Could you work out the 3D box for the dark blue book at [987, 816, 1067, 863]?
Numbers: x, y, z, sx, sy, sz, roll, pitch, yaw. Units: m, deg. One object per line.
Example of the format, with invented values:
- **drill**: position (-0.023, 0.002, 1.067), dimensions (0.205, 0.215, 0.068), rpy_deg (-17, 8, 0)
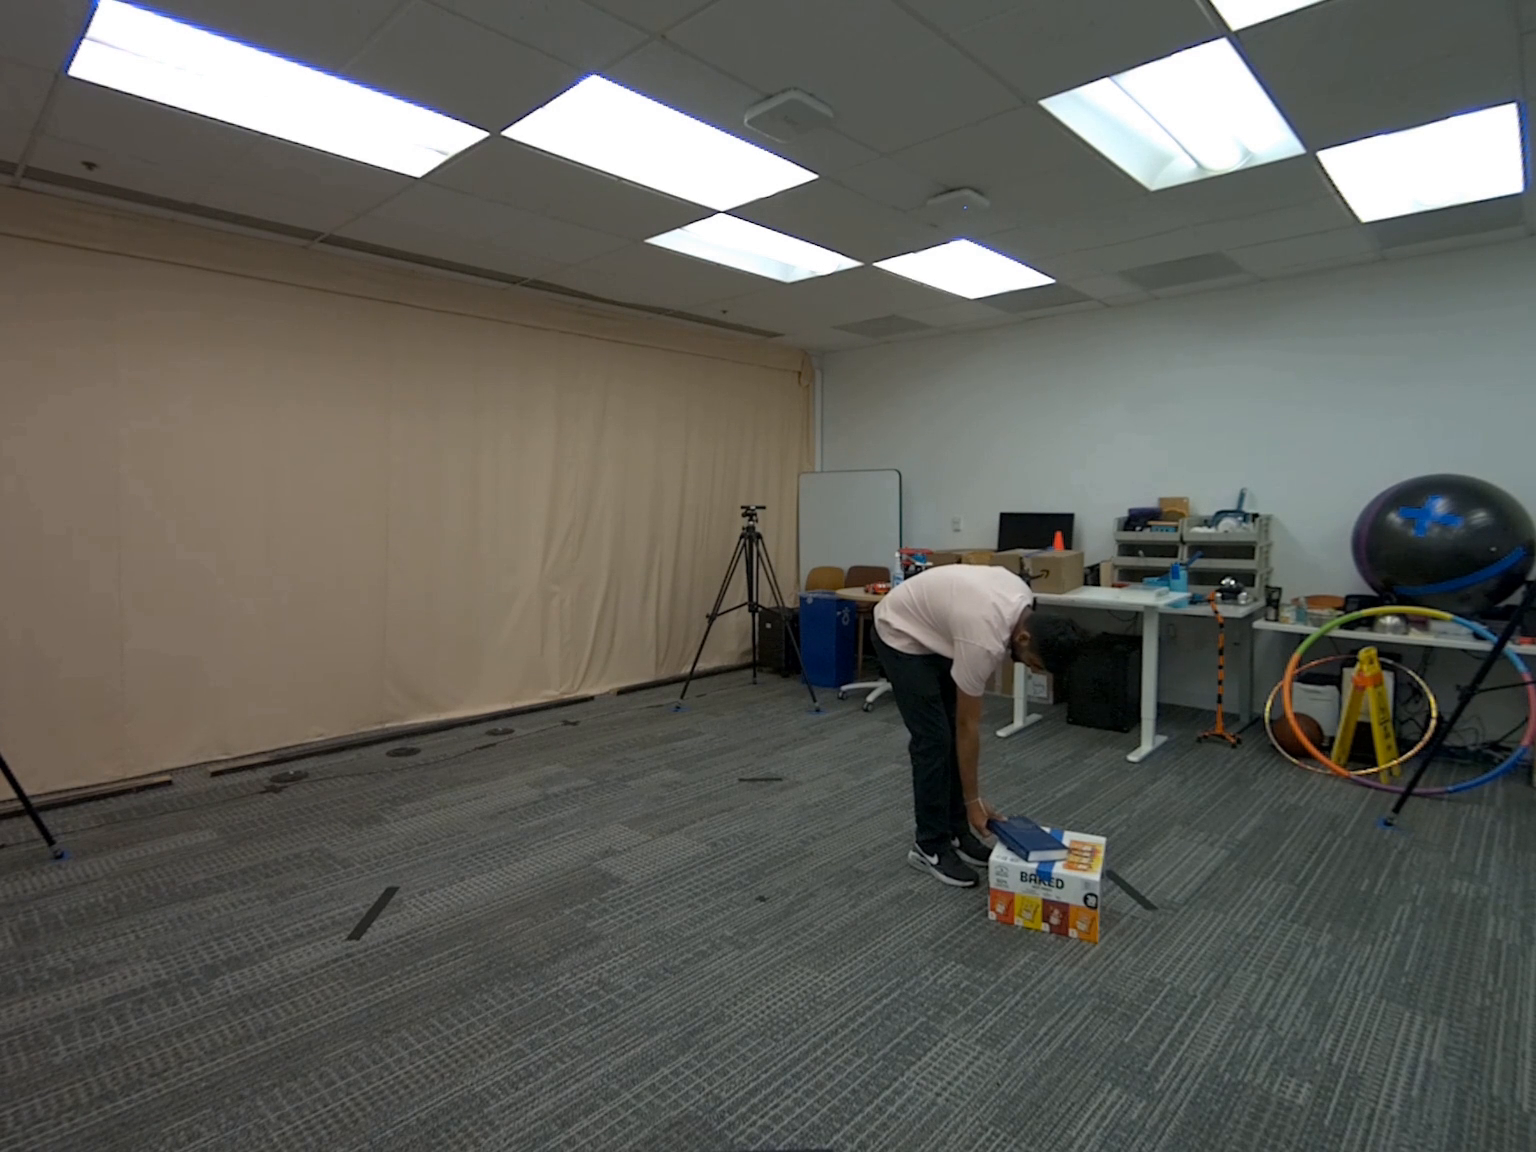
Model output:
- **dark blue book**: position (0.916, 0.920, 2.934), dimensions (0.160, 0.045, 0.251), rpy_deg (4, 9, -18)
